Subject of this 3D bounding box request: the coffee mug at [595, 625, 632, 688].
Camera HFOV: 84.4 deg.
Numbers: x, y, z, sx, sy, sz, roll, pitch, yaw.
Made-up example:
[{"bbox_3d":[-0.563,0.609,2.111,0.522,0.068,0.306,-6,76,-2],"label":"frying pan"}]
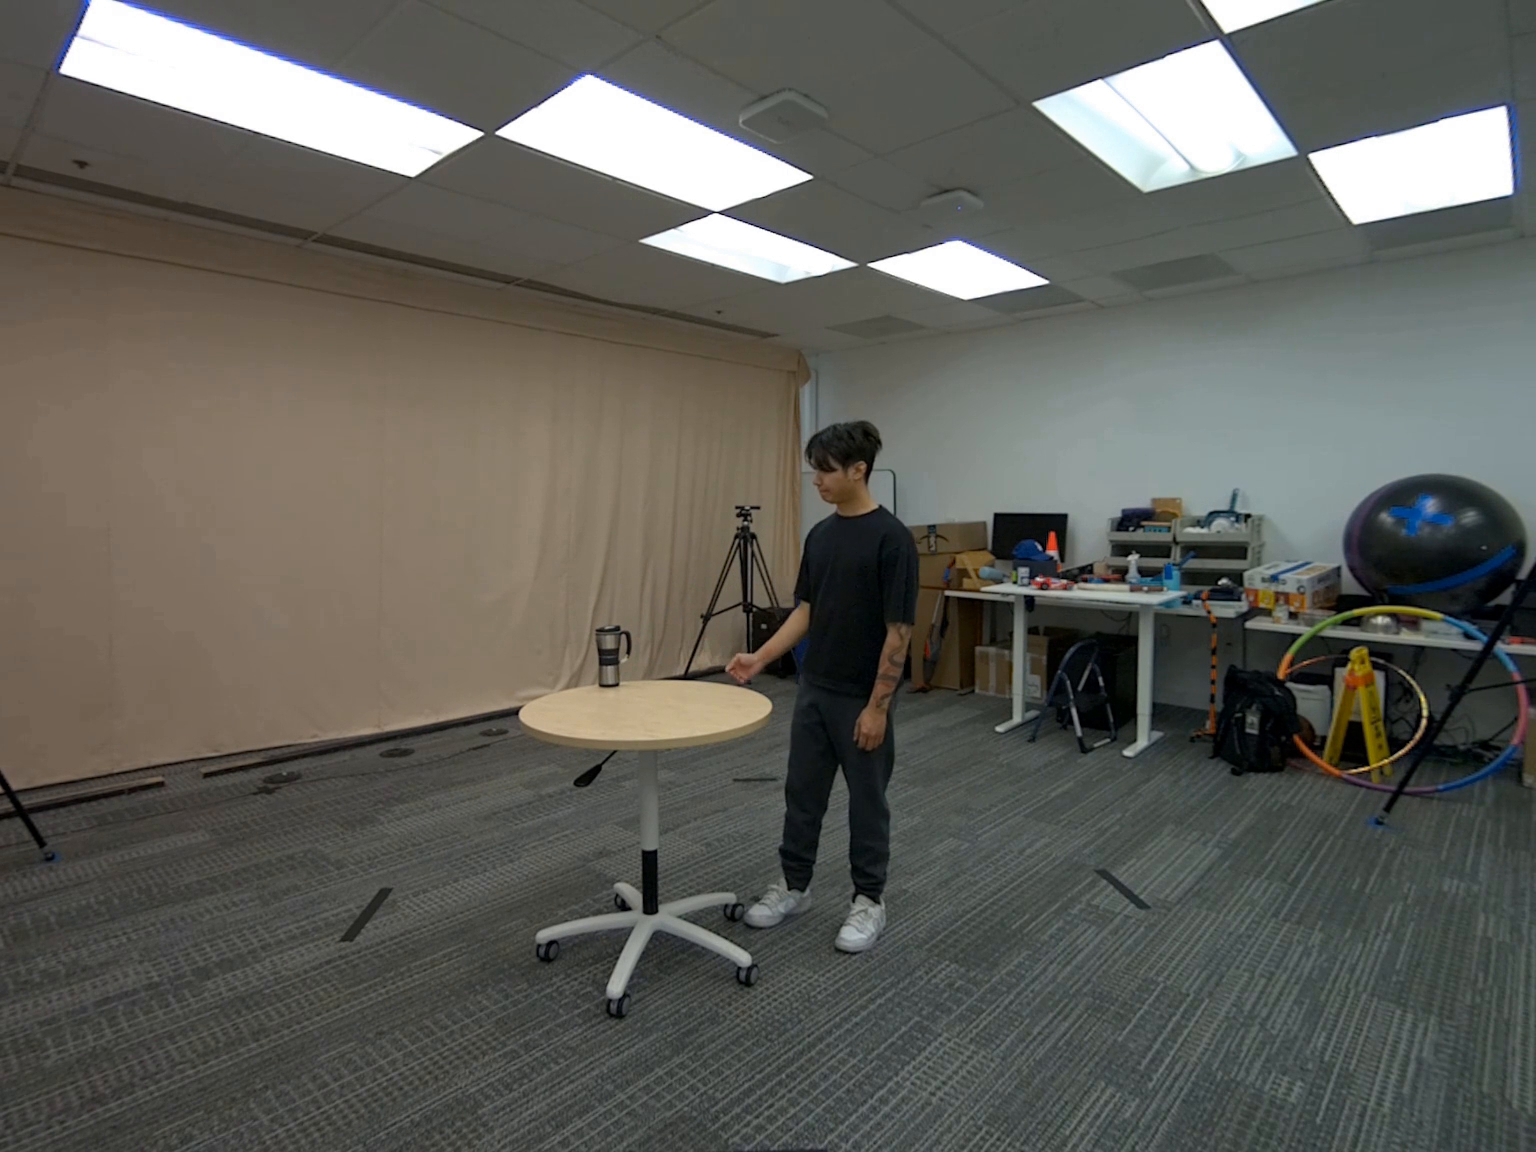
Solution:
[{"bbox_3d":[-0.528,0.278,2.865,0.126,0.203,0.085,-3,-2,39],"label":"coffee mug"}]
